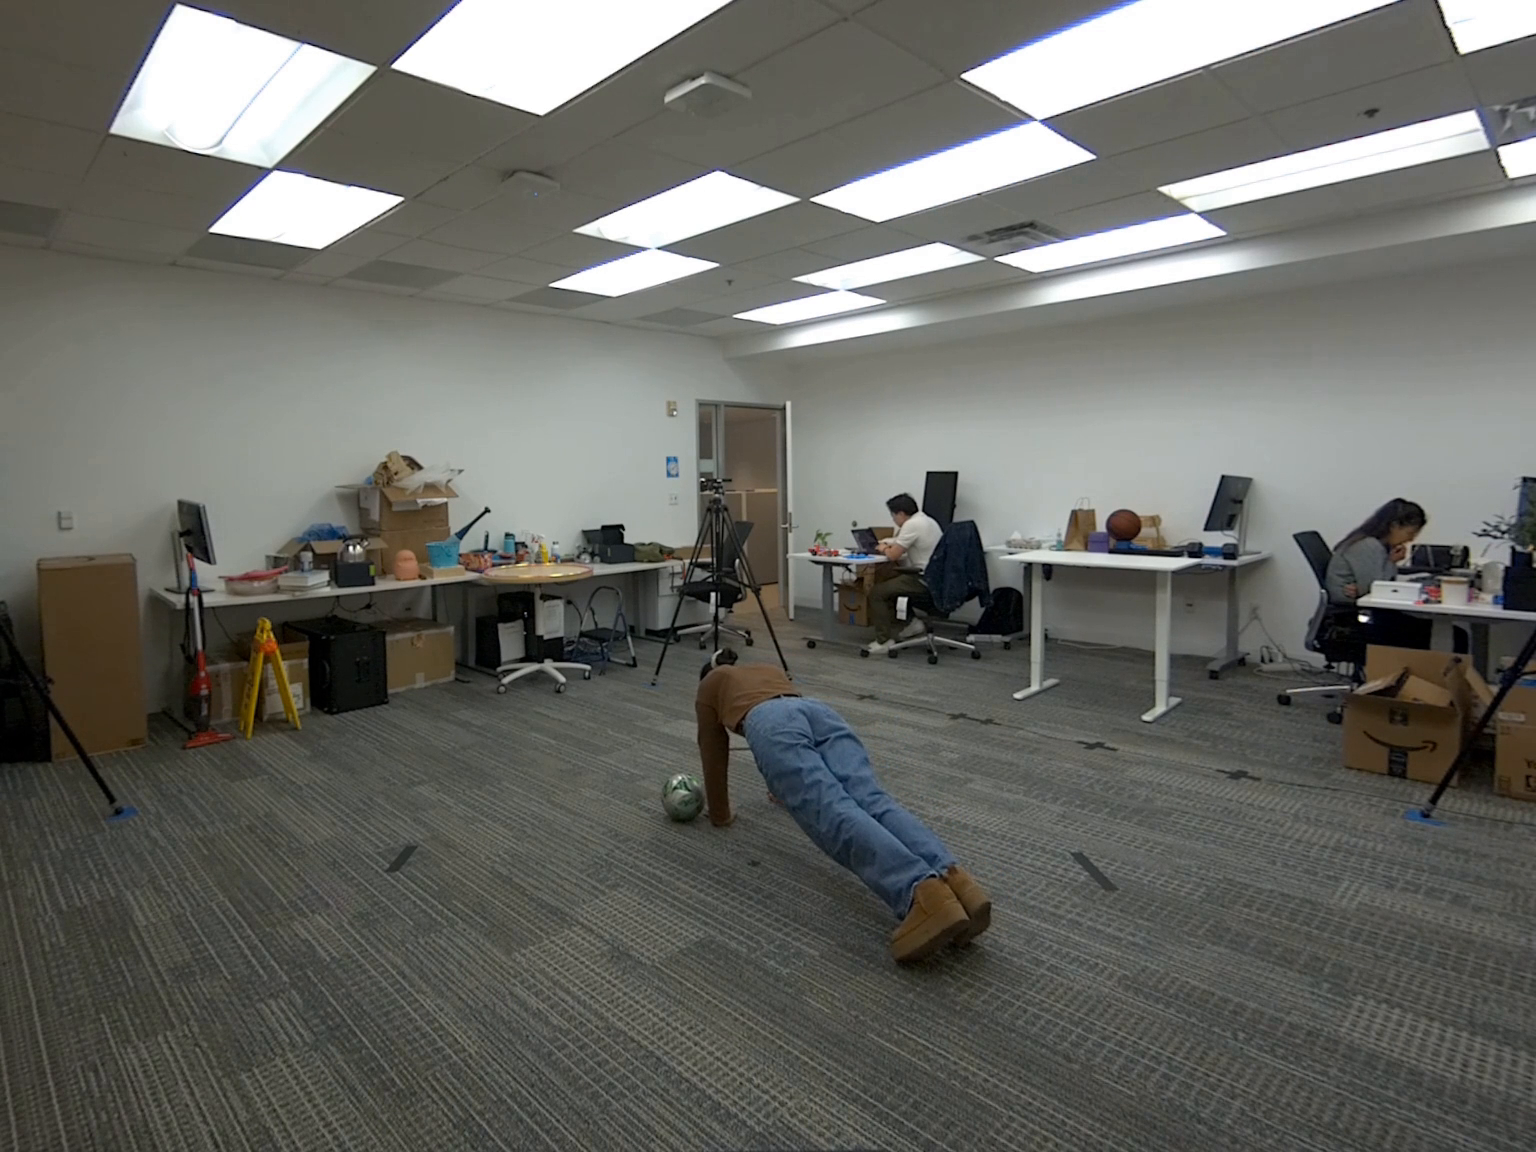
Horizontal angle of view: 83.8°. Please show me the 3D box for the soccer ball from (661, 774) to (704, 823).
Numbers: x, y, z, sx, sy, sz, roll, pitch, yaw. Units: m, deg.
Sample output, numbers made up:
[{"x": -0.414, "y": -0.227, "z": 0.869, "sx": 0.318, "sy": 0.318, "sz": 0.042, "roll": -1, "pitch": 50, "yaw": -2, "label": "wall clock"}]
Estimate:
[{"x": -0.350, "y": 0.914, "z": 3.522, "sx": 0.187, "sy": 0.187, "sz": 0.188, "roll": -1, "pitch": 5, "yaw": -2, "label": "soccer ball"}]
